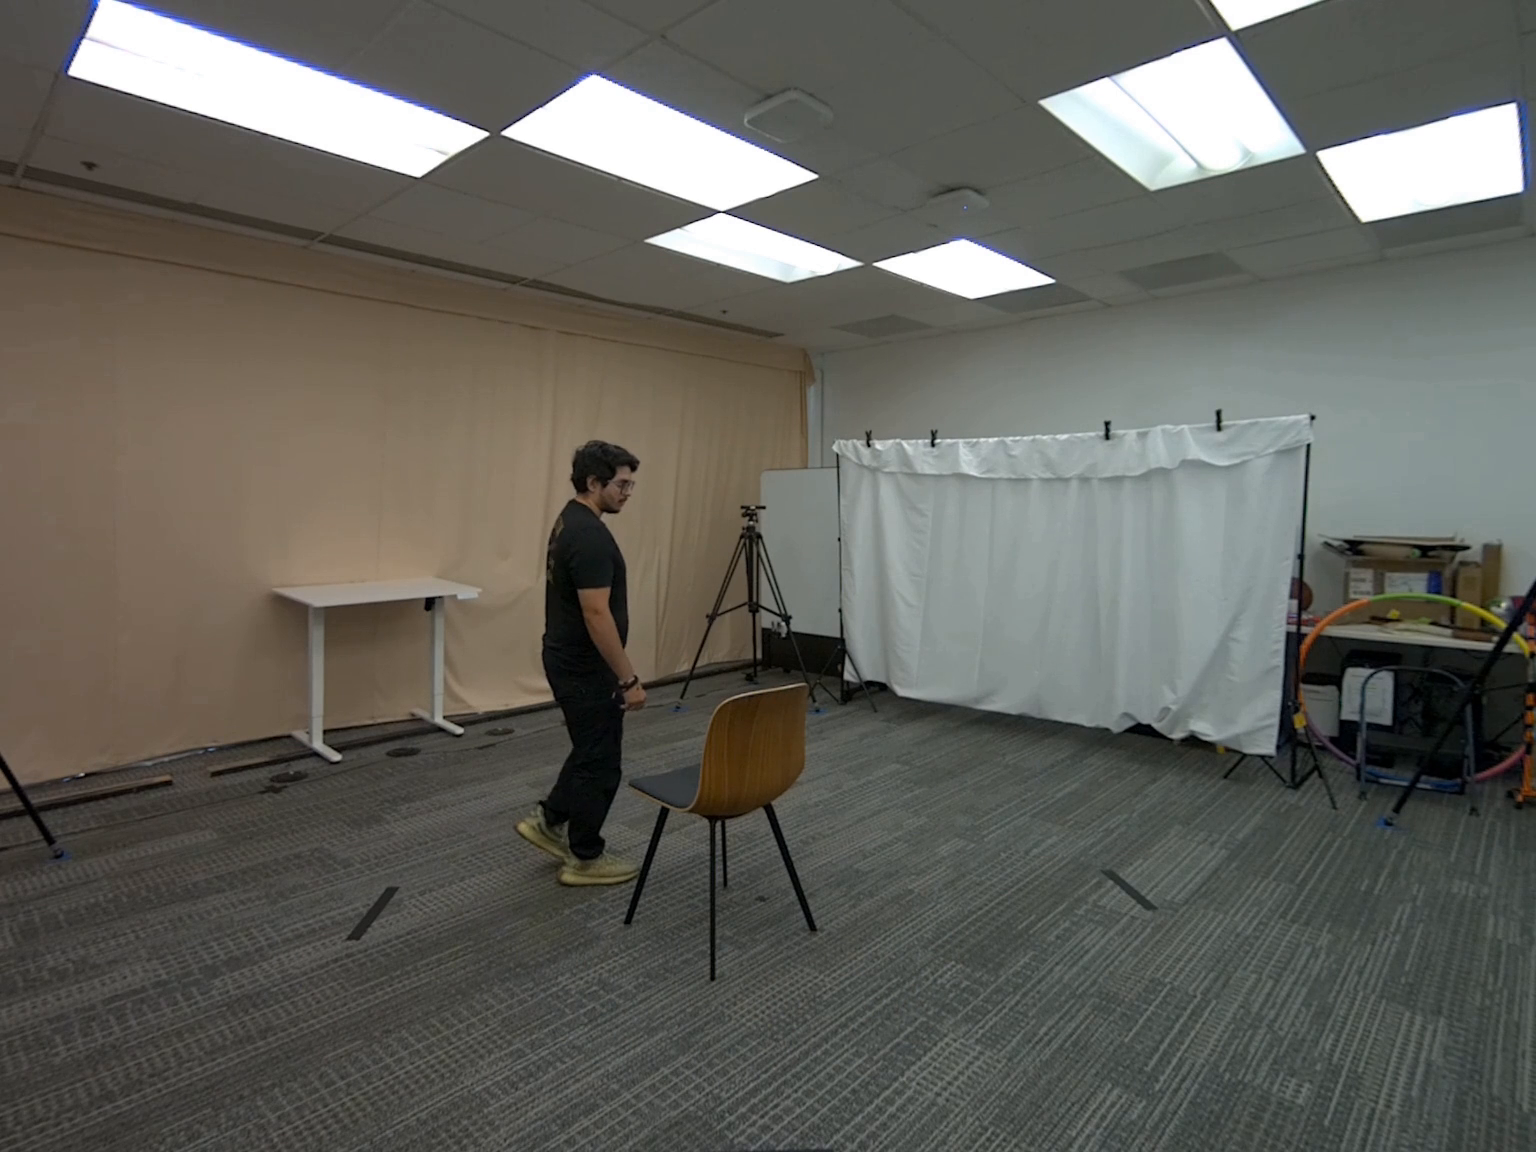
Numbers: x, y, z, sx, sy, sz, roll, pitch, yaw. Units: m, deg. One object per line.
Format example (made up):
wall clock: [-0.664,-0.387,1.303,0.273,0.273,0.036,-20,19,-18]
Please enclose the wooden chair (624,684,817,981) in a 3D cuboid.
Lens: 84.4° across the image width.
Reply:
wooden chair: [-0.163,0.738,2.754,0.463,0.874,0.541,-3,9,-42]
